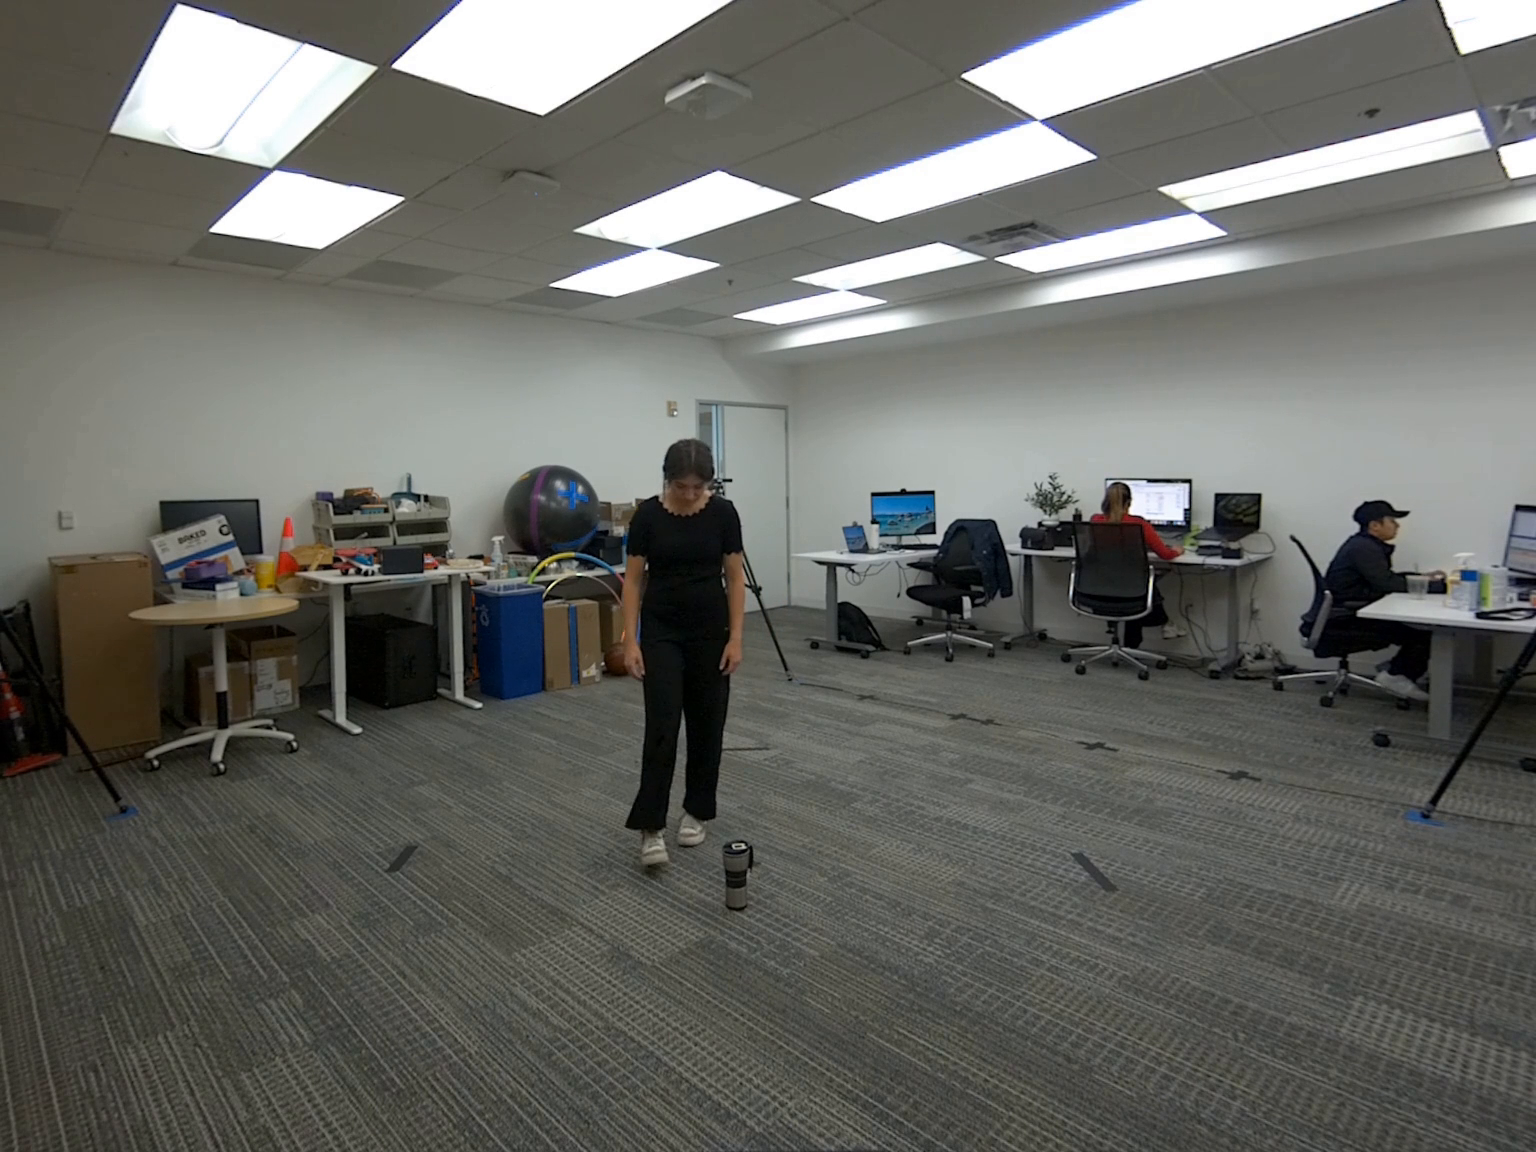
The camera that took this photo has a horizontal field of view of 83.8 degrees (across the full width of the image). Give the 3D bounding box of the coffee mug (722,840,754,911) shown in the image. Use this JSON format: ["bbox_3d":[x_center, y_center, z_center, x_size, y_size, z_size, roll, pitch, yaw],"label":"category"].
[{"bbox_3d":[-0.080,0.980,2.805,0.119,0.202,0.090,-7,3,-33],"label":"coffee mug"}]
